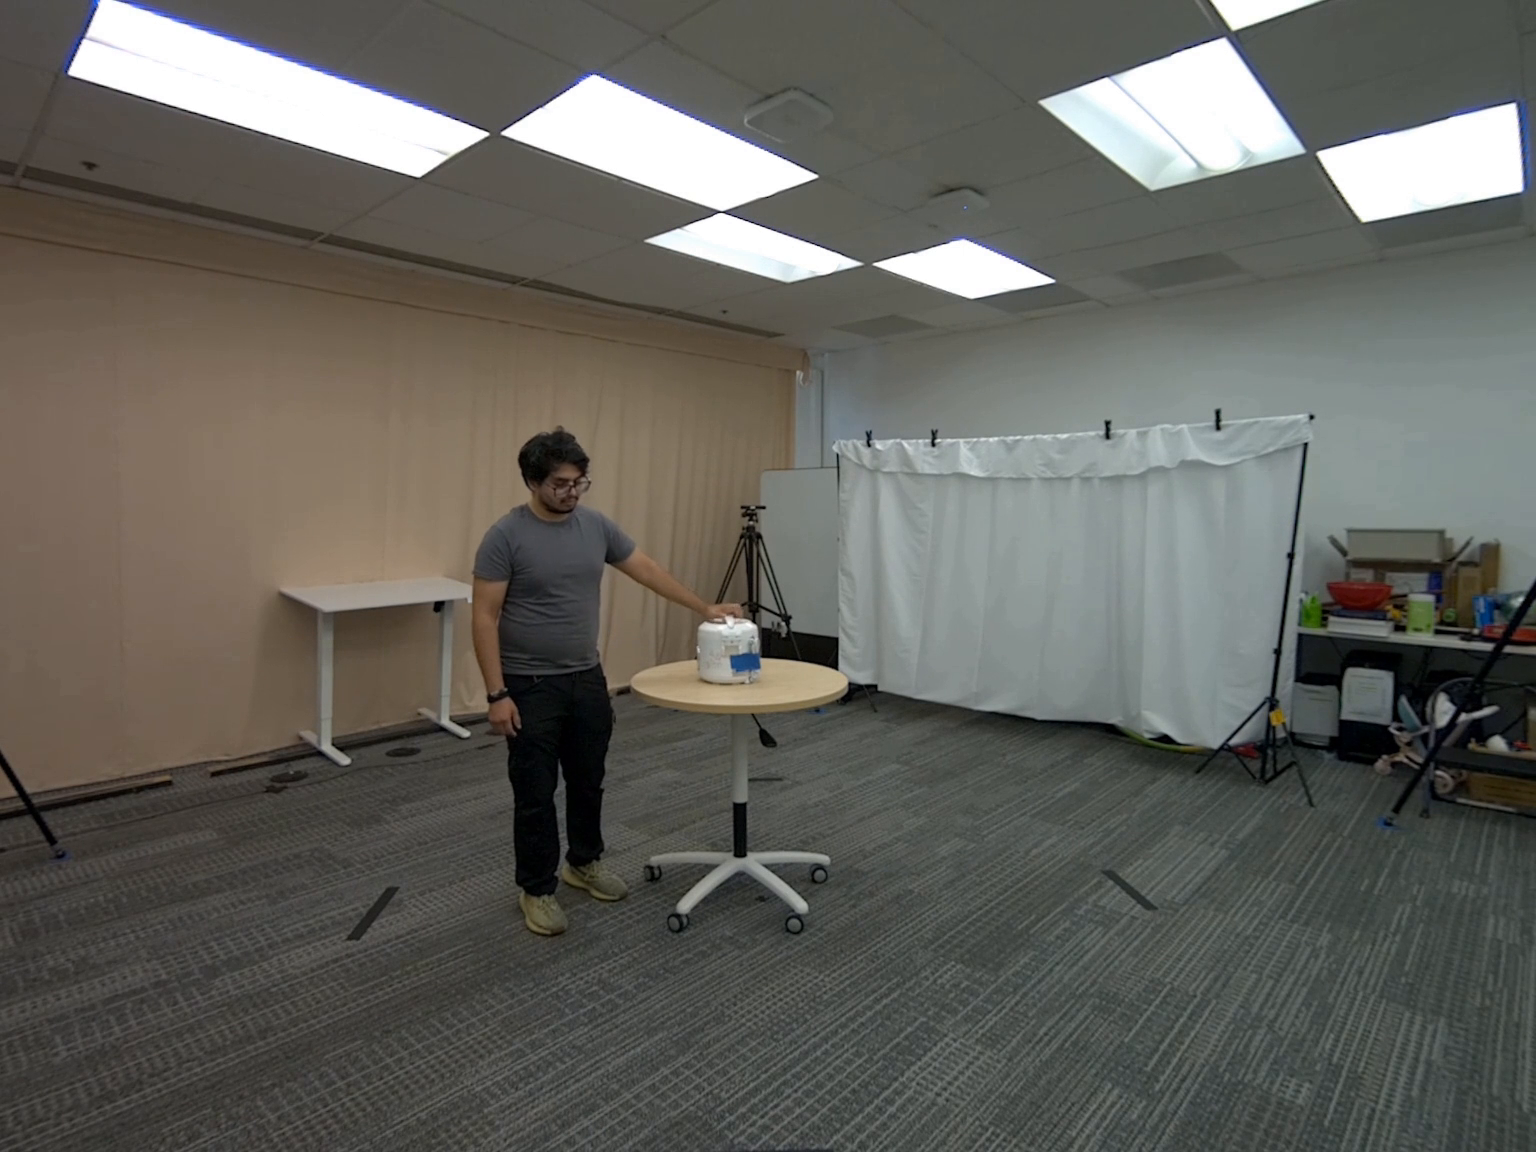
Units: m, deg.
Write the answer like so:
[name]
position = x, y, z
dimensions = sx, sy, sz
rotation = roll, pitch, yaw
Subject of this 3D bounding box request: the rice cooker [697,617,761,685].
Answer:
[rice cooker]
position = -0.139, 0.253, 2.951
dimensions = 0.216, 0.232, 0.223
rotation = -1, 4, -8
